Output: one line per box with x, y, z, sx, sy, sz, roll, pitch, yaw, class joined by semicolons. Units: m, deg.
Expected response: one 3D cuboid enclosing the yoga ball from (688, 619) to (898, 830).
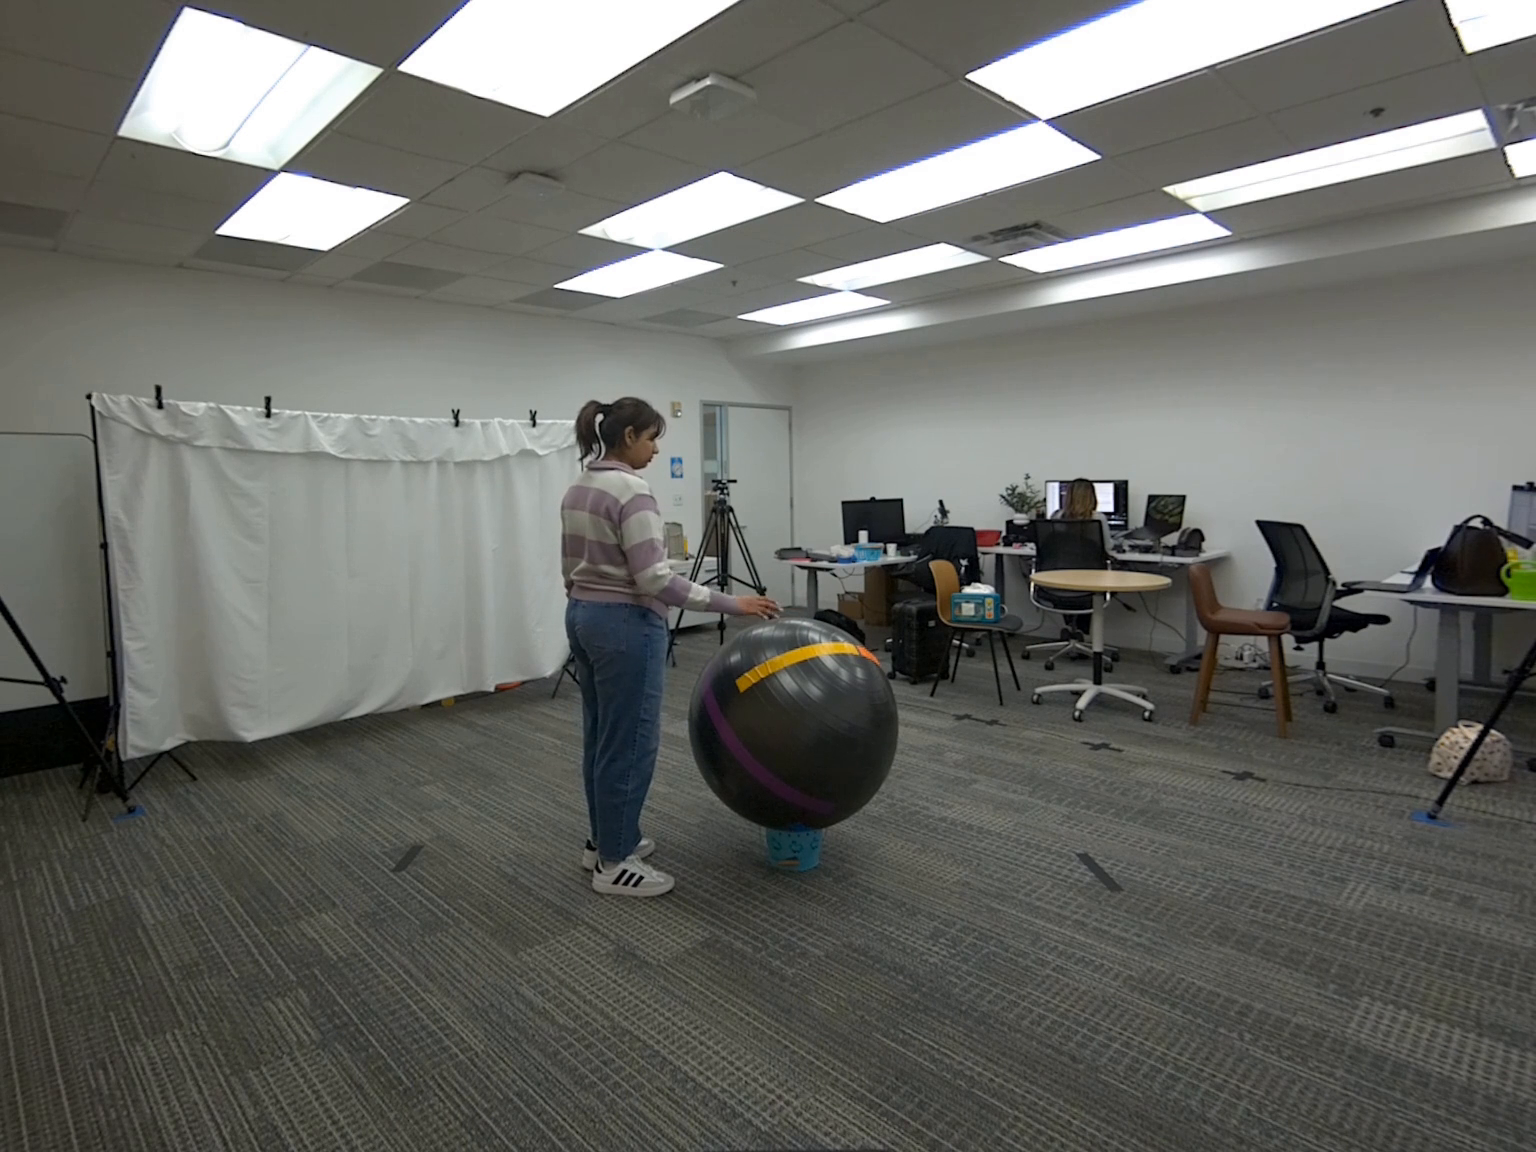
0.093;0.530;3.111;0.757;0.755;0.762;-1;5;-2;yoga ball
